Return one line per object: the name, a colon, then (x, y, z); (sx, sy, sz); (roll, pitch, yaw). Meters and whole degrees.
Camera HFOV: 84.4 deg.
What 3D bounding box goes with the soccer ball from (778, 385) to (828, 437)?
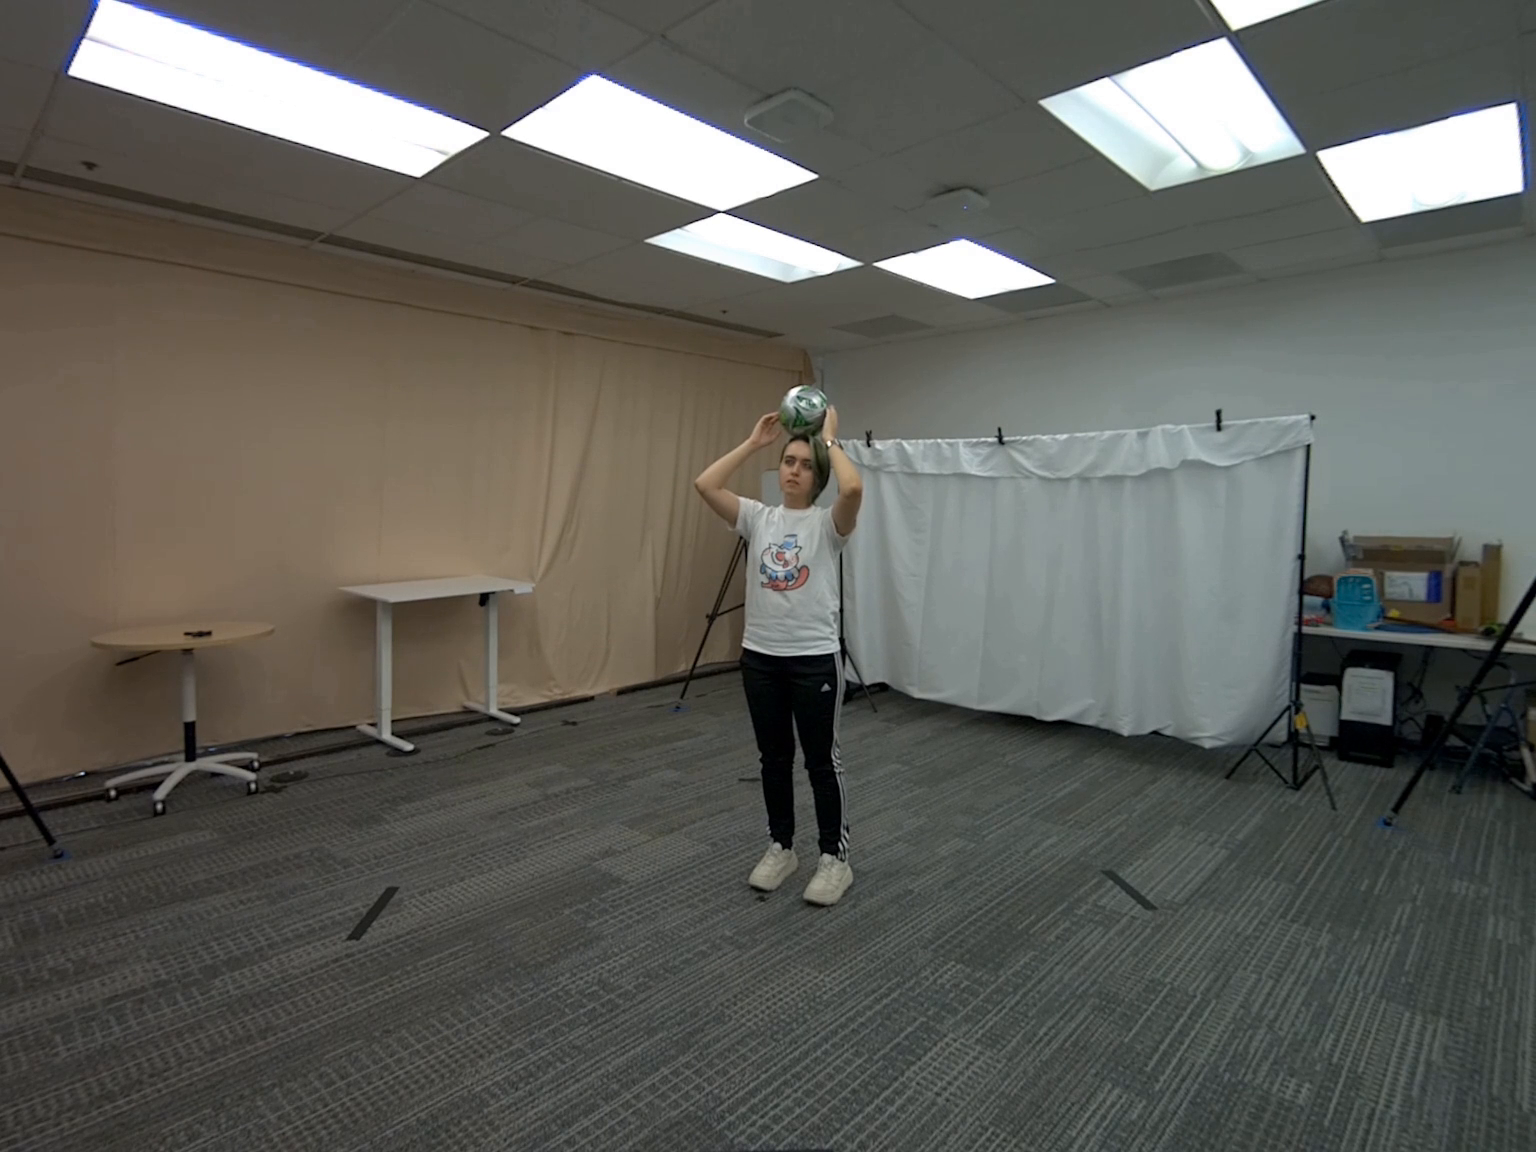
soccer ball: (0.136, -0.585, 3.017); (0.187, 0.187, 0.188); (0, 4, -2)
